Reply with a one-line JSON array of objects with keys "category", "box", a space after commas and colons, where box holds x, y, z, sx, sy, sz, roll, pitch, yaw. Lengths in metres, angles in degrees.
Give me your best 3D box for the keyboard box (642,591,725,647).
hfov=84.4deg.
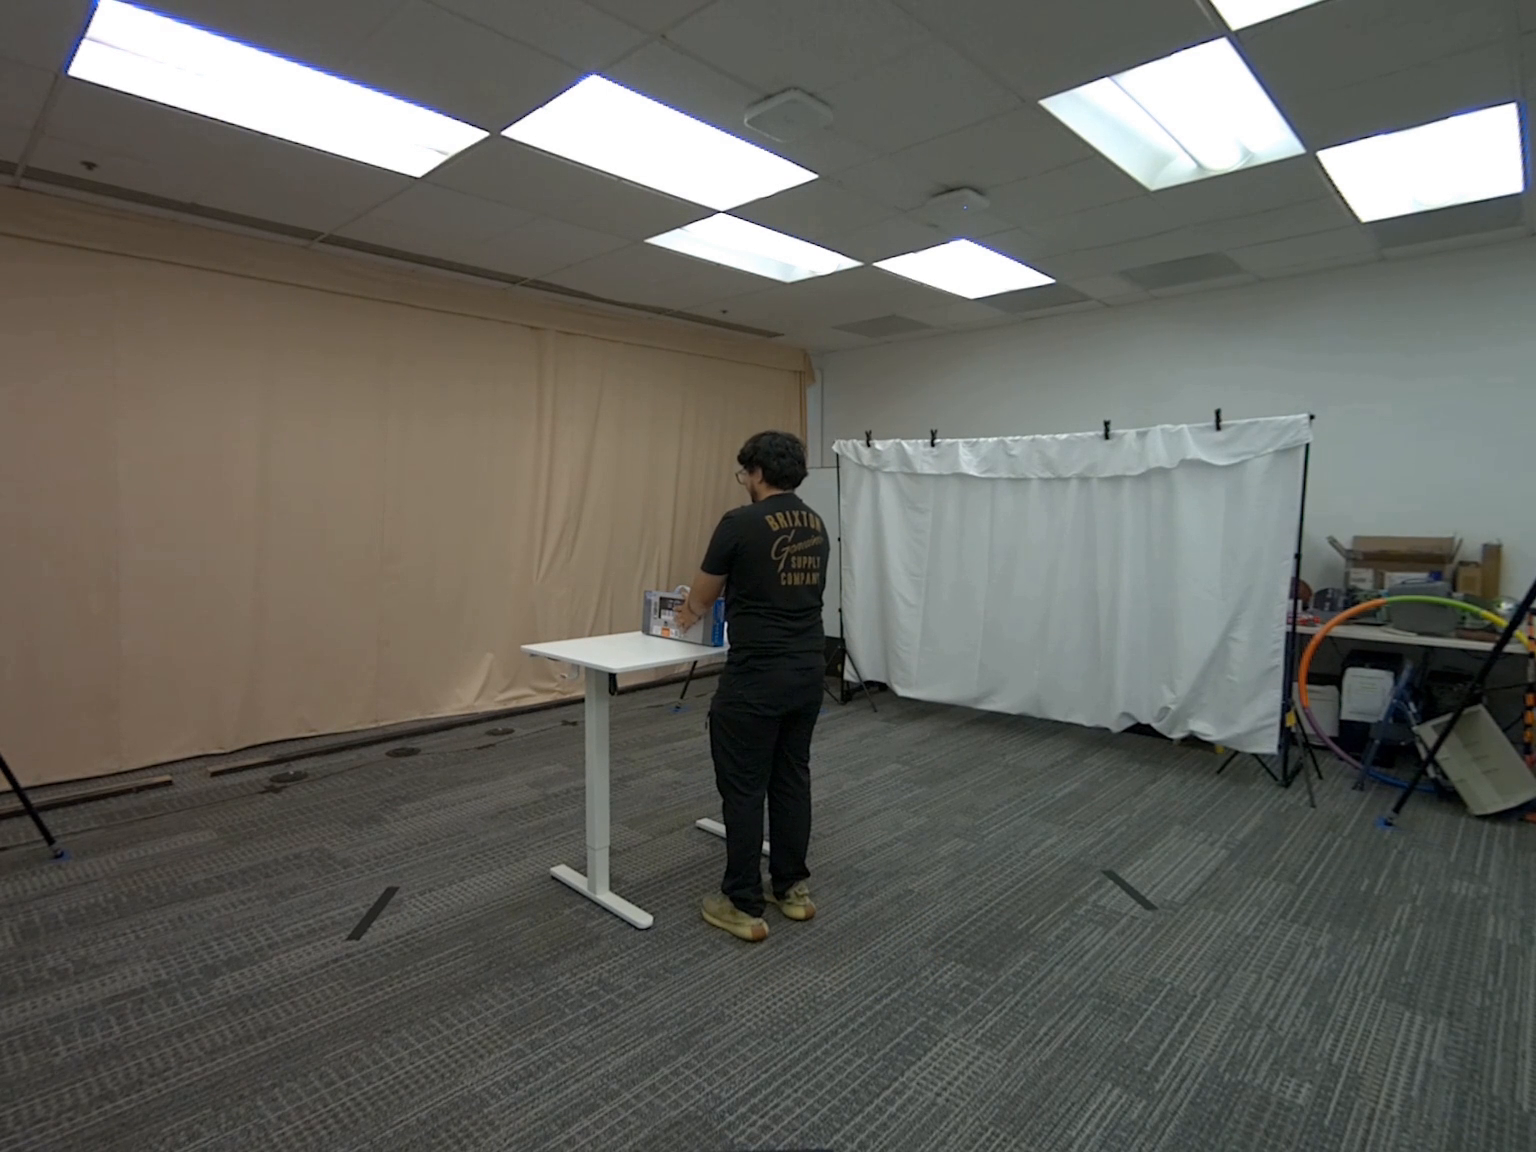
[{"category": "keyboard box", "box": [-0.330, 0.159, 3.213, 0.057, 0.176, 0.451, 4, 1, -42]}]
